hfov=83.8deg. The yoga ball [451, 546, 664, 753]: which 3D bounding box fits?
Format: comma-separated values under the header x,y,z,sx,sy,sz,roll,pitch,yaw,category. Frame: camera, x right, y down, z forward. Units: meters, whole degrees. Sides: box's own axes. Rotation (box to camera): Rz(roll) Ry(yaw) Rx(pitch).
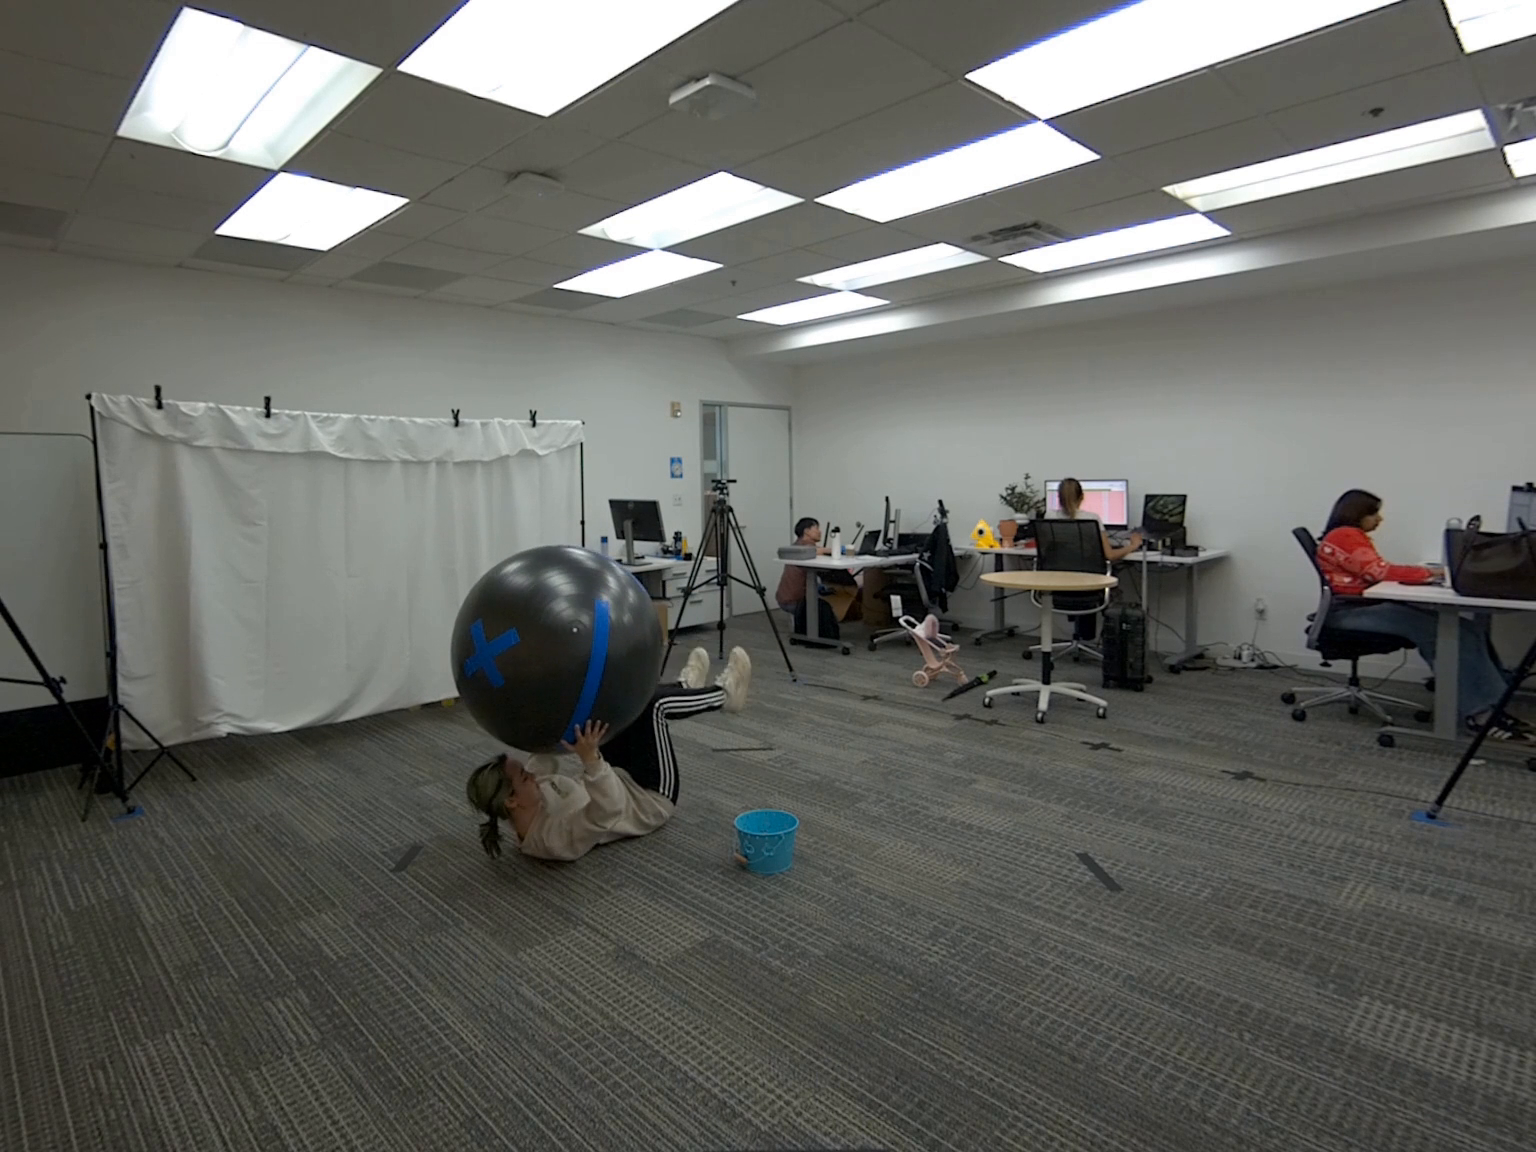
x,y,z,sx,sy,sz,roll,pitch,yaw,category
-0.759,0.272,3.108,0.757,0.755,0.762,-1,5,-2,yoga ball
